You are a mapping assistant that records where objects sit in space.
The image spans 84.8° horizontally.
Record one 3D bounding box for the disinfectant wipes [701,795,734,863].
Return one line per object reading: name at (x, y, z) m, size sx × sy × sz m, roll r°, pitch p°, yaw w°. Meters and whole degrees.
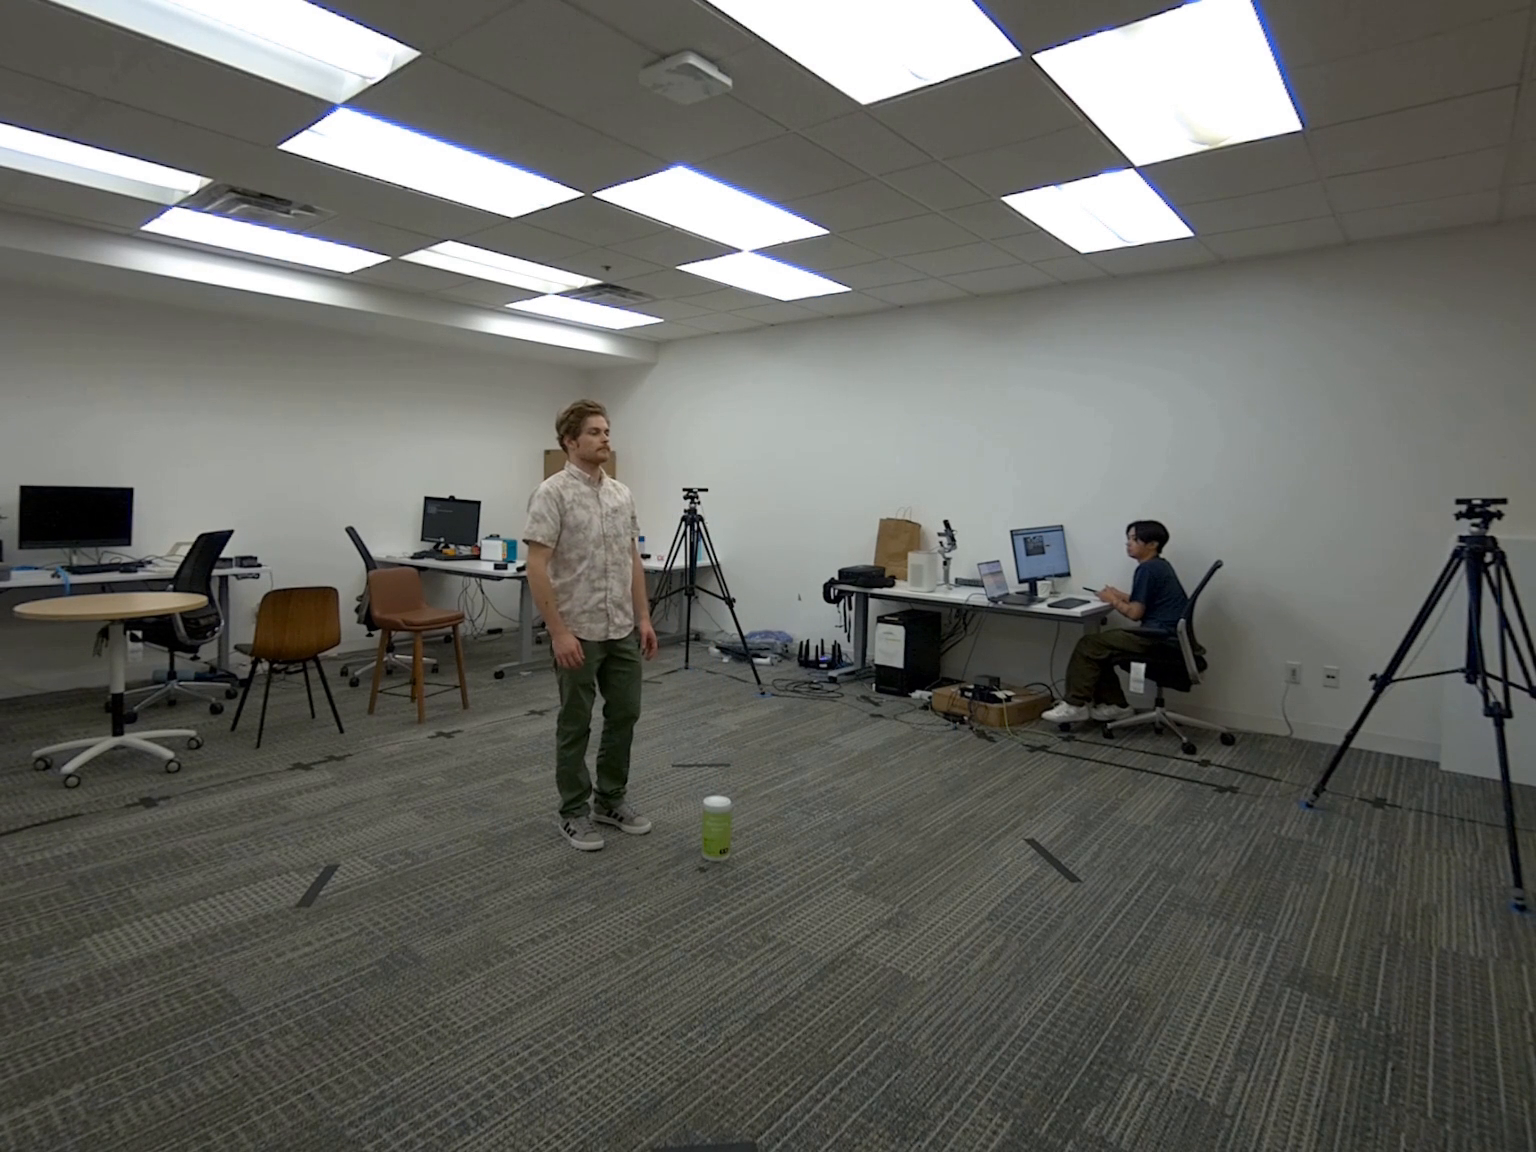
disinfectant wipes at (-0.202, 0.954, 3.218) m, size 0.117 × 0.217 × 0.118 m, roll 2°, pitch 4°, yaw -2°
